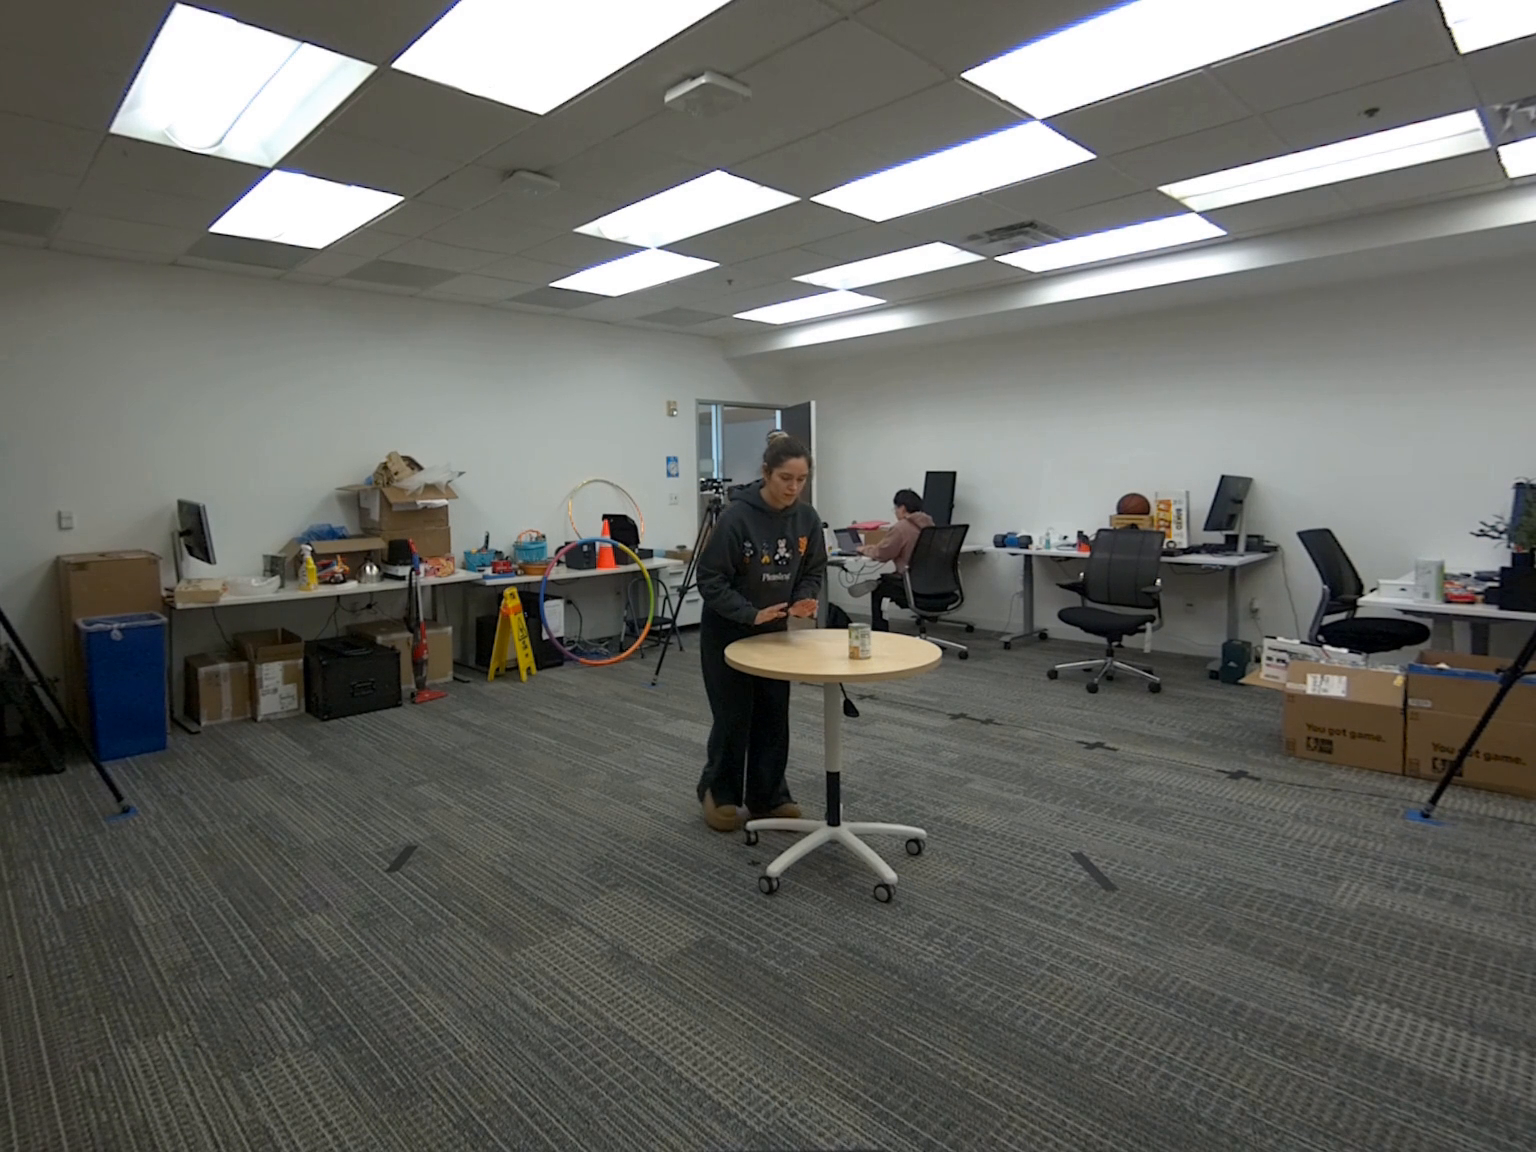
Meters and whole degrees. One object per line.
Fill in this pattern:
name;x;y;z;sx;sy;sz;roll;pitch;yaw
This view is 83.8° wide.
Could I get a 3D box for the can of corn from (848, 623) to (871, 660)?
can of corn;0.313;0.222;2.900;0.074;0.110;0.075;0;6;-2
